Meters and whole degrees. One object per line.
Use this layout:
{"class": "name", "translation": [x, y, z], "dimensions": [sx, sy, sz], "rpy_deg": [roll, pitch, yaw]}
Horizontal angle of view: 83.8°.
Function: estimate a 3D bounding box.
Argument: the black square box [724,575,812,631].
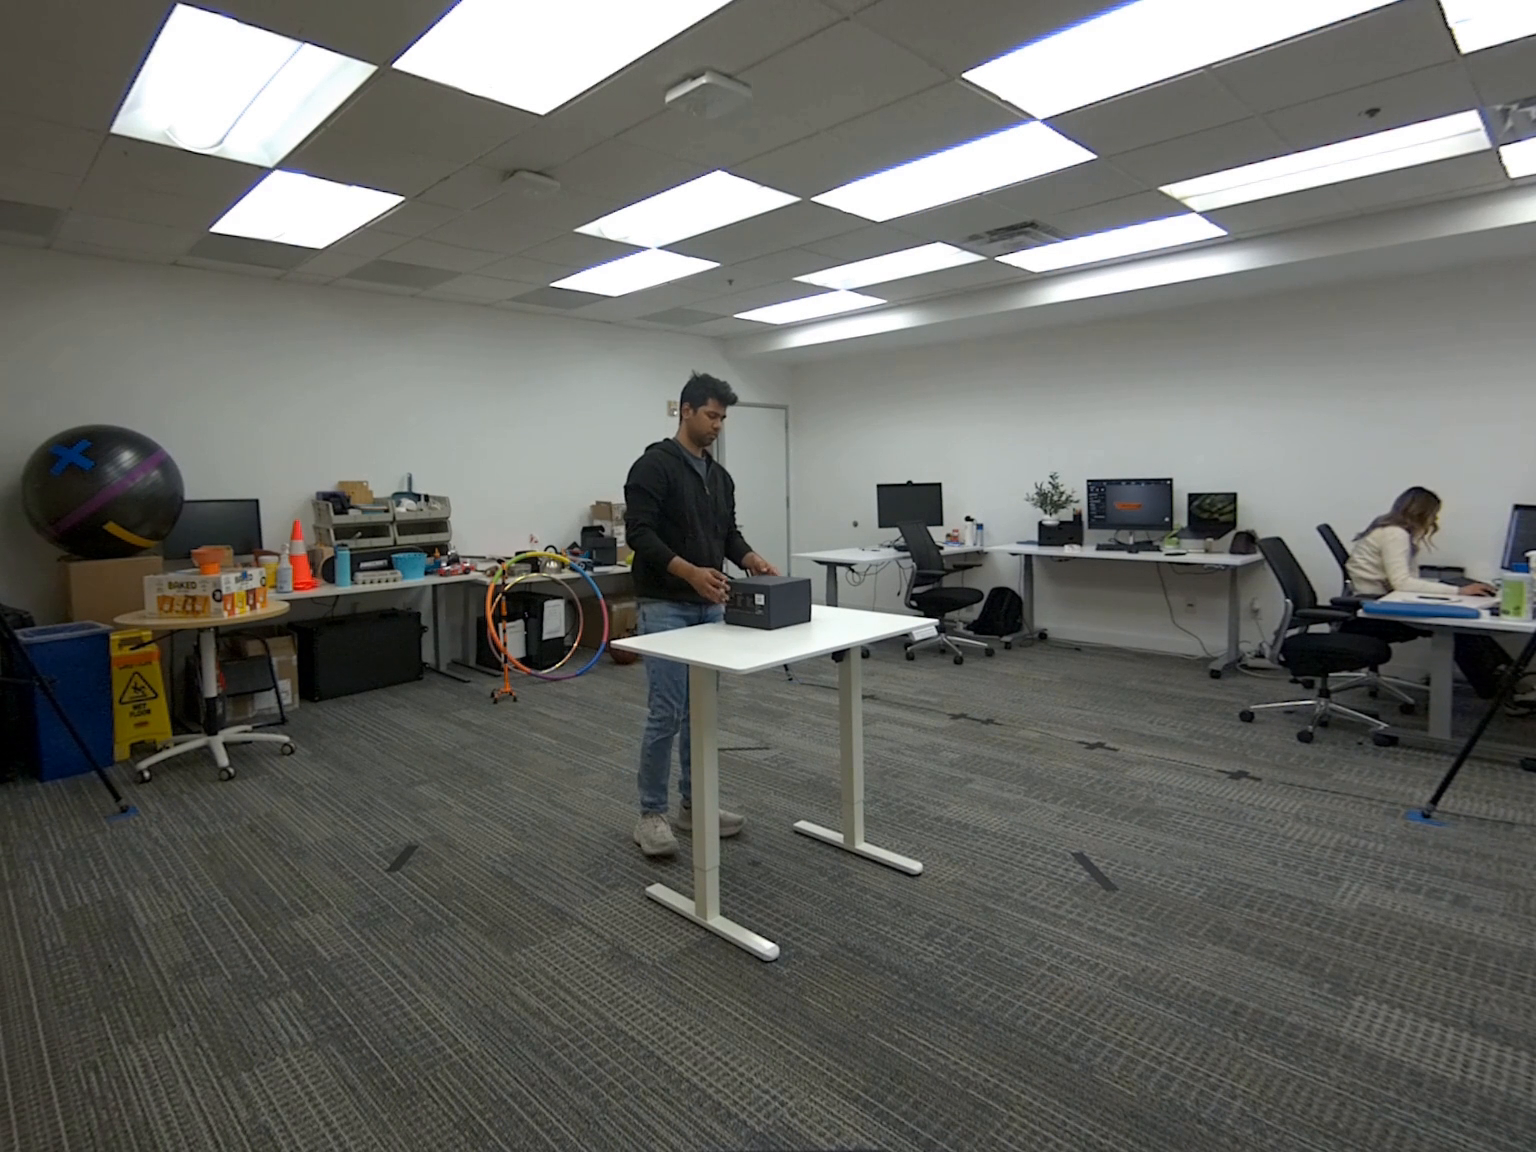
{"class": "black square box", "translation": [0.006, 0.091, 3.035], "dimensions": [0.223, 0.155, 0.222], "rpy_deg": [4, 7, 42]}
